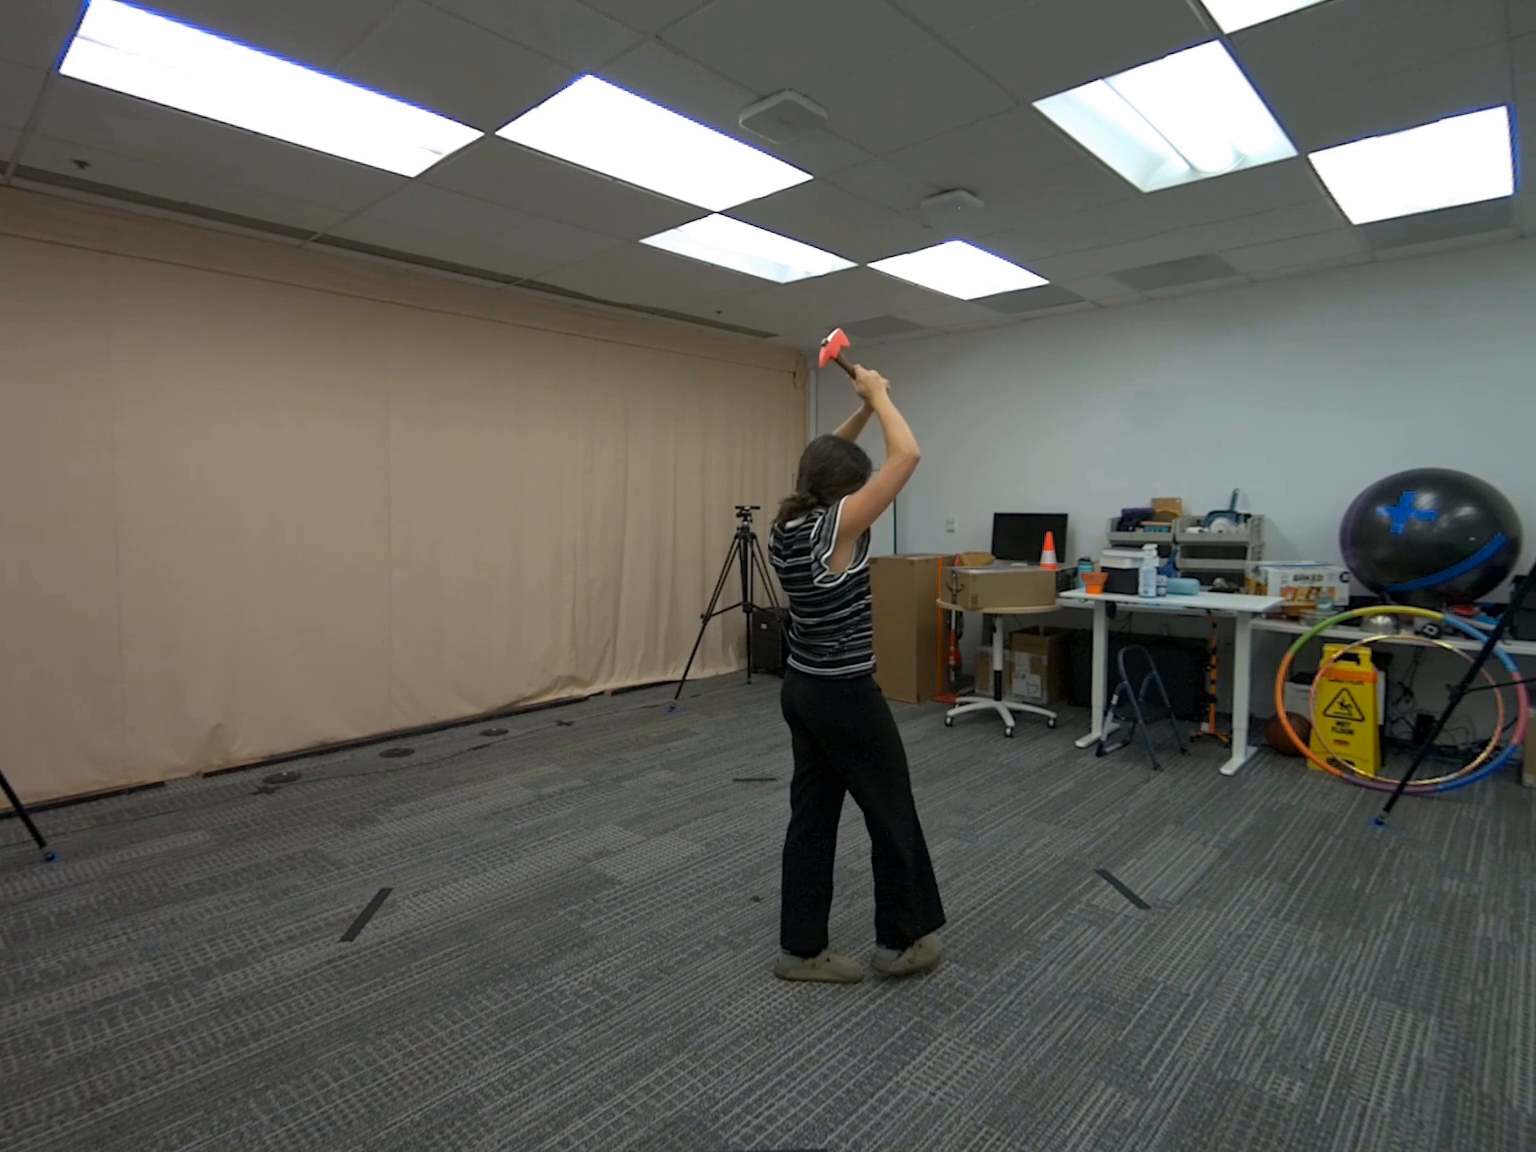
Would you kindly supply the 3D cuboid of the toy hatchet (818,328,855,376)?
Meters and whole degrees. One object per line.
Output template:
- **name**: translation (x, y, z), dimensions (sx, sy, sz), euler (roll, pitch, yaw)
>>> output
- **toy hatchet**: translation (0.266, -0.624, 2.424), dimensions (0.261, 0.131, 0.030), euler (14, -9, -32)
